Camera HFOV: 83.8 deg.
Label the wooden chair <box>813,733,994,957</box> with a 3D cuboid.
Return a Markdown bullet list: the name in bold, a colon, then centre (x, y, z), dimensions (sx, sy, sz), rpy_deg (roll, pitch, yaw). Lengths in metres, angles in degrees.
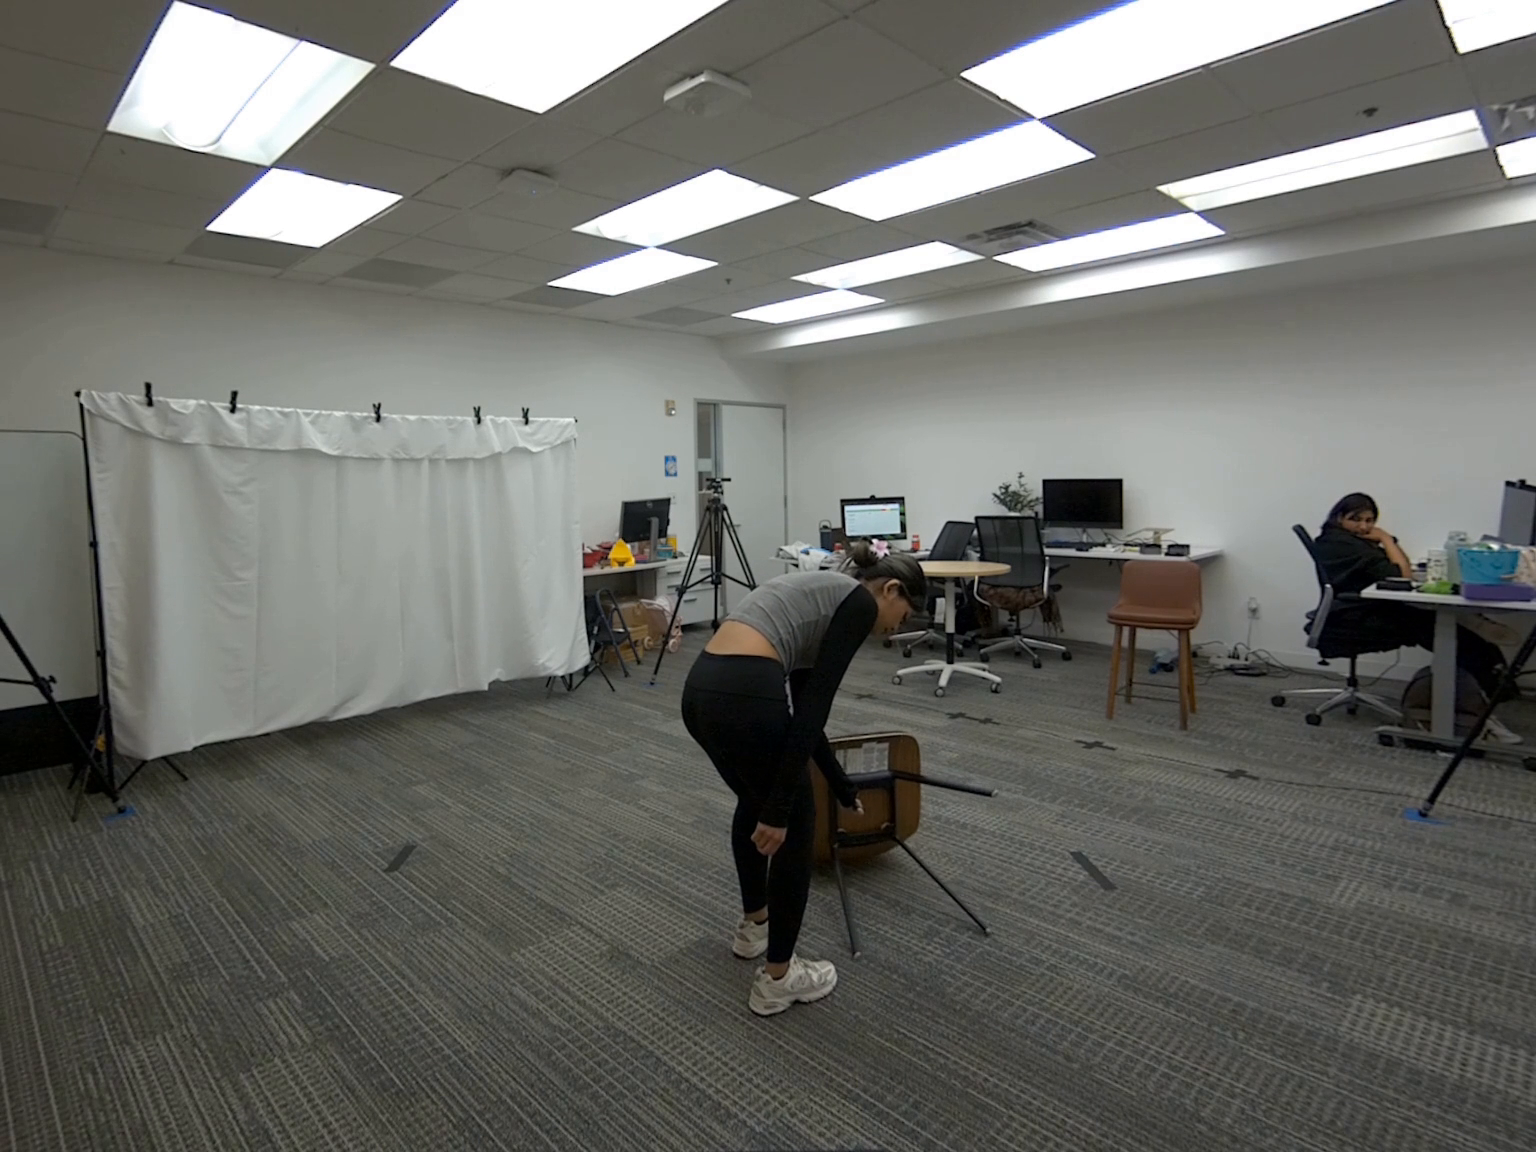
- **wooden chair**: centre (0.329, 0.794, 2.920), dimensions (0.471, 0.521, 0.894), rpy_deg (-2, 5, -17)
